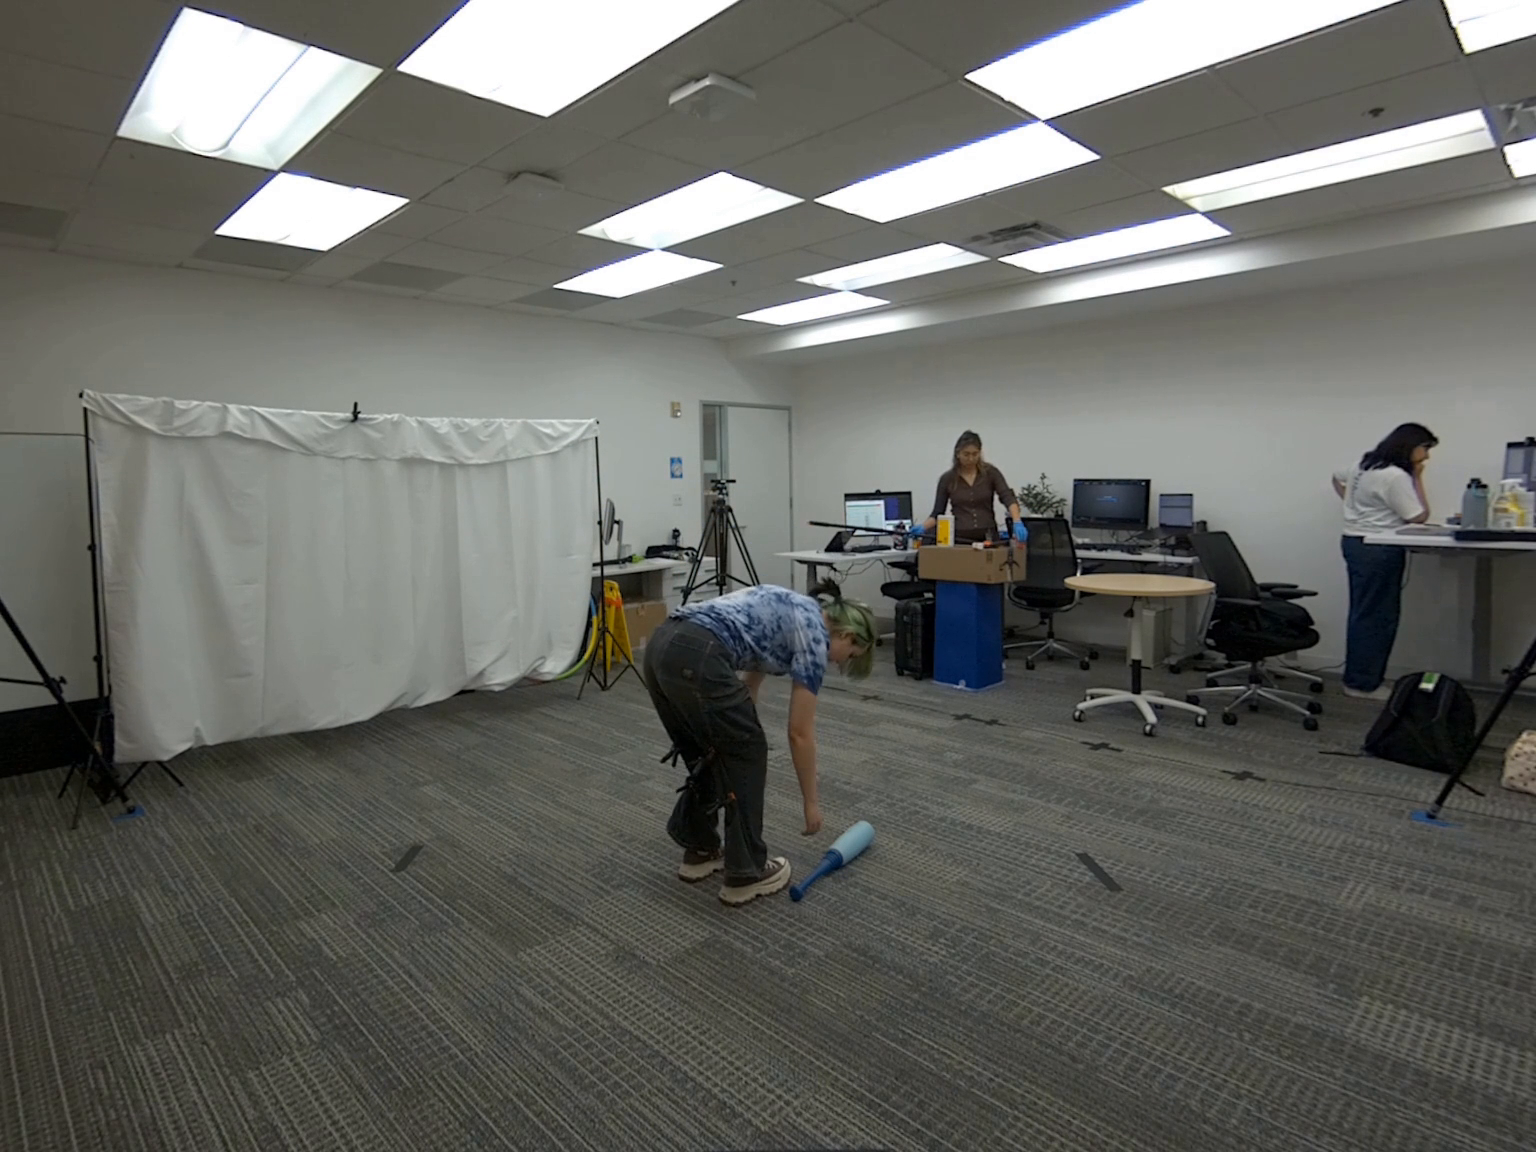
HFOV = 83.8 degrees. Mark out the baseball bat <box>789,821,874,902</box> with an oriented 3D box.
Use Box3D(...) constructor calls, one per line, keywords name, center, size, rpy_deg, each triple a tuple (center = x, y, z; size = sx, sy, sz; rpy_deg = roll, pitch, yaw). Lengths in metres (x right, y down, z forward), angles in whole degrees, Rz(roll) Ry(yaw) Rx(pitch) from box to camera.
Box3D(name="baseball bat", center=(0.233, 1.015, 3.038), size=(0.091, 0.088, 0.532), rpy_deg=(2, 10, 32))
